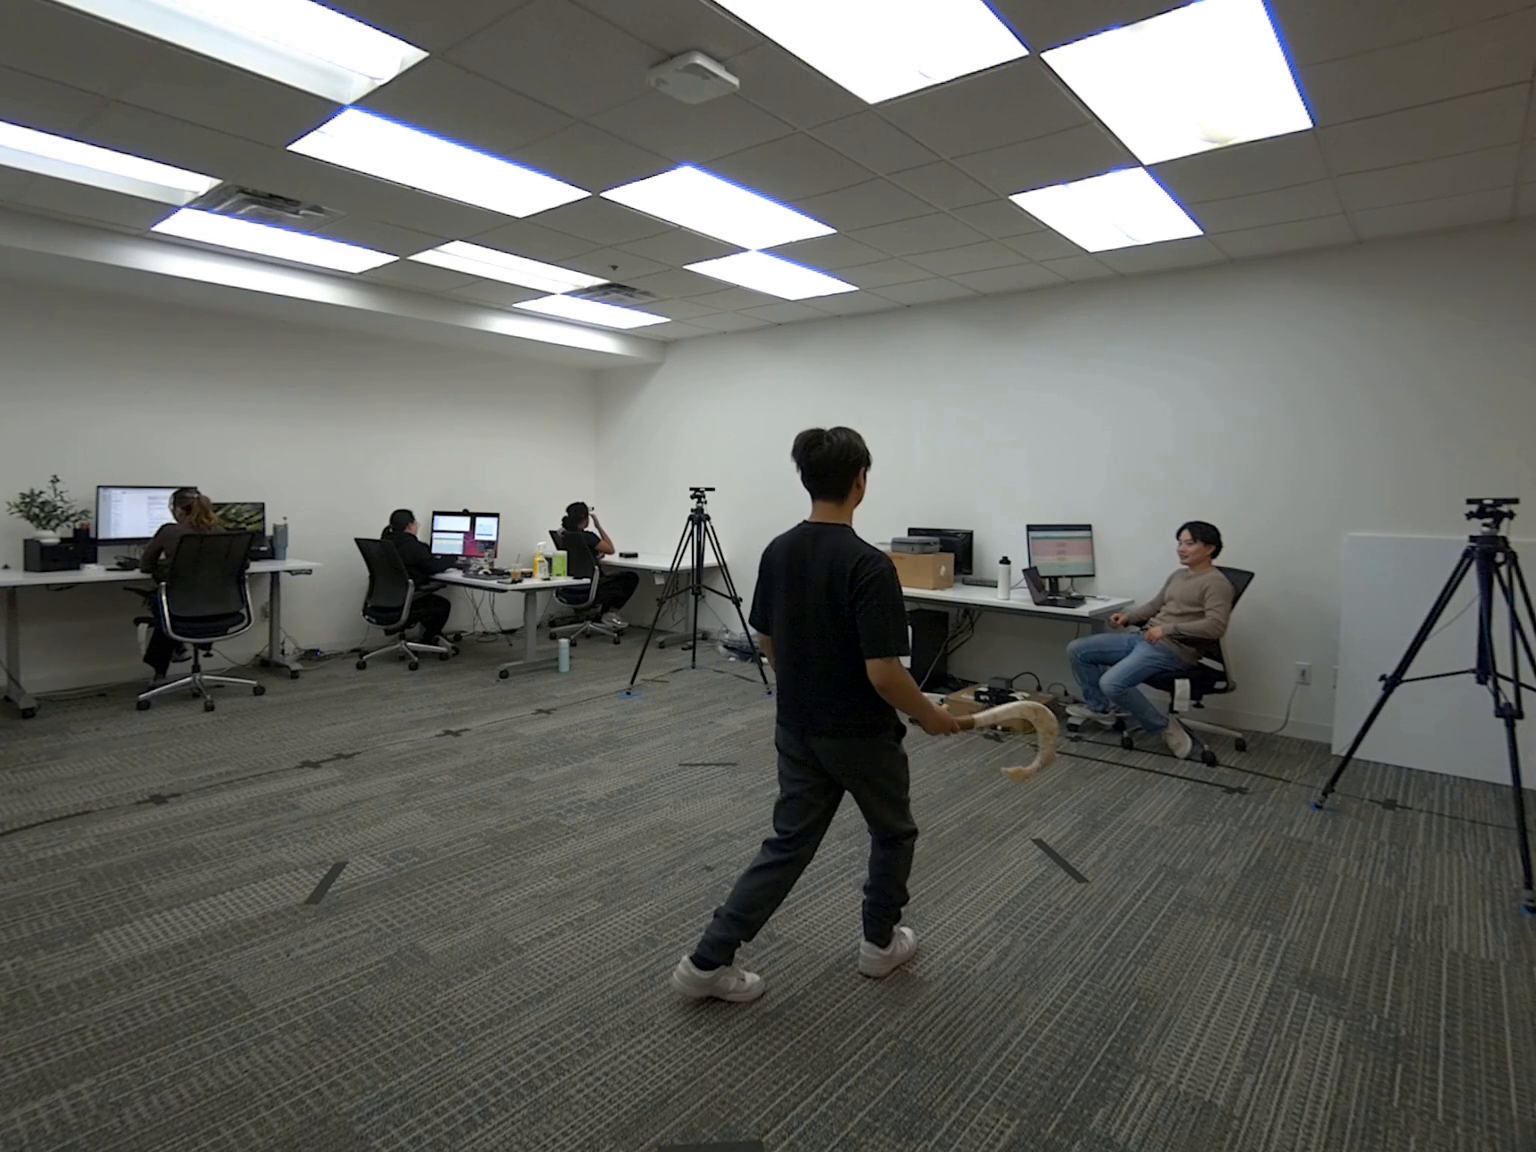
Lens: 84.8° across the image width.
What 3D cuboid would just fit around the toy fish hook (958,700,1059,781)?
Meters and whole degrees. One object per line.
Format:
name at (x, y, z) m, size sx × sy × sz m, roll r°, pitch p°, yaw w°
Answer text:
toy fish hook at (0.609, 0.452, 2.413) m, size 0.497 × 0.226 × 0.049 m, roll 5°, pitch -7°, yaw -18°
